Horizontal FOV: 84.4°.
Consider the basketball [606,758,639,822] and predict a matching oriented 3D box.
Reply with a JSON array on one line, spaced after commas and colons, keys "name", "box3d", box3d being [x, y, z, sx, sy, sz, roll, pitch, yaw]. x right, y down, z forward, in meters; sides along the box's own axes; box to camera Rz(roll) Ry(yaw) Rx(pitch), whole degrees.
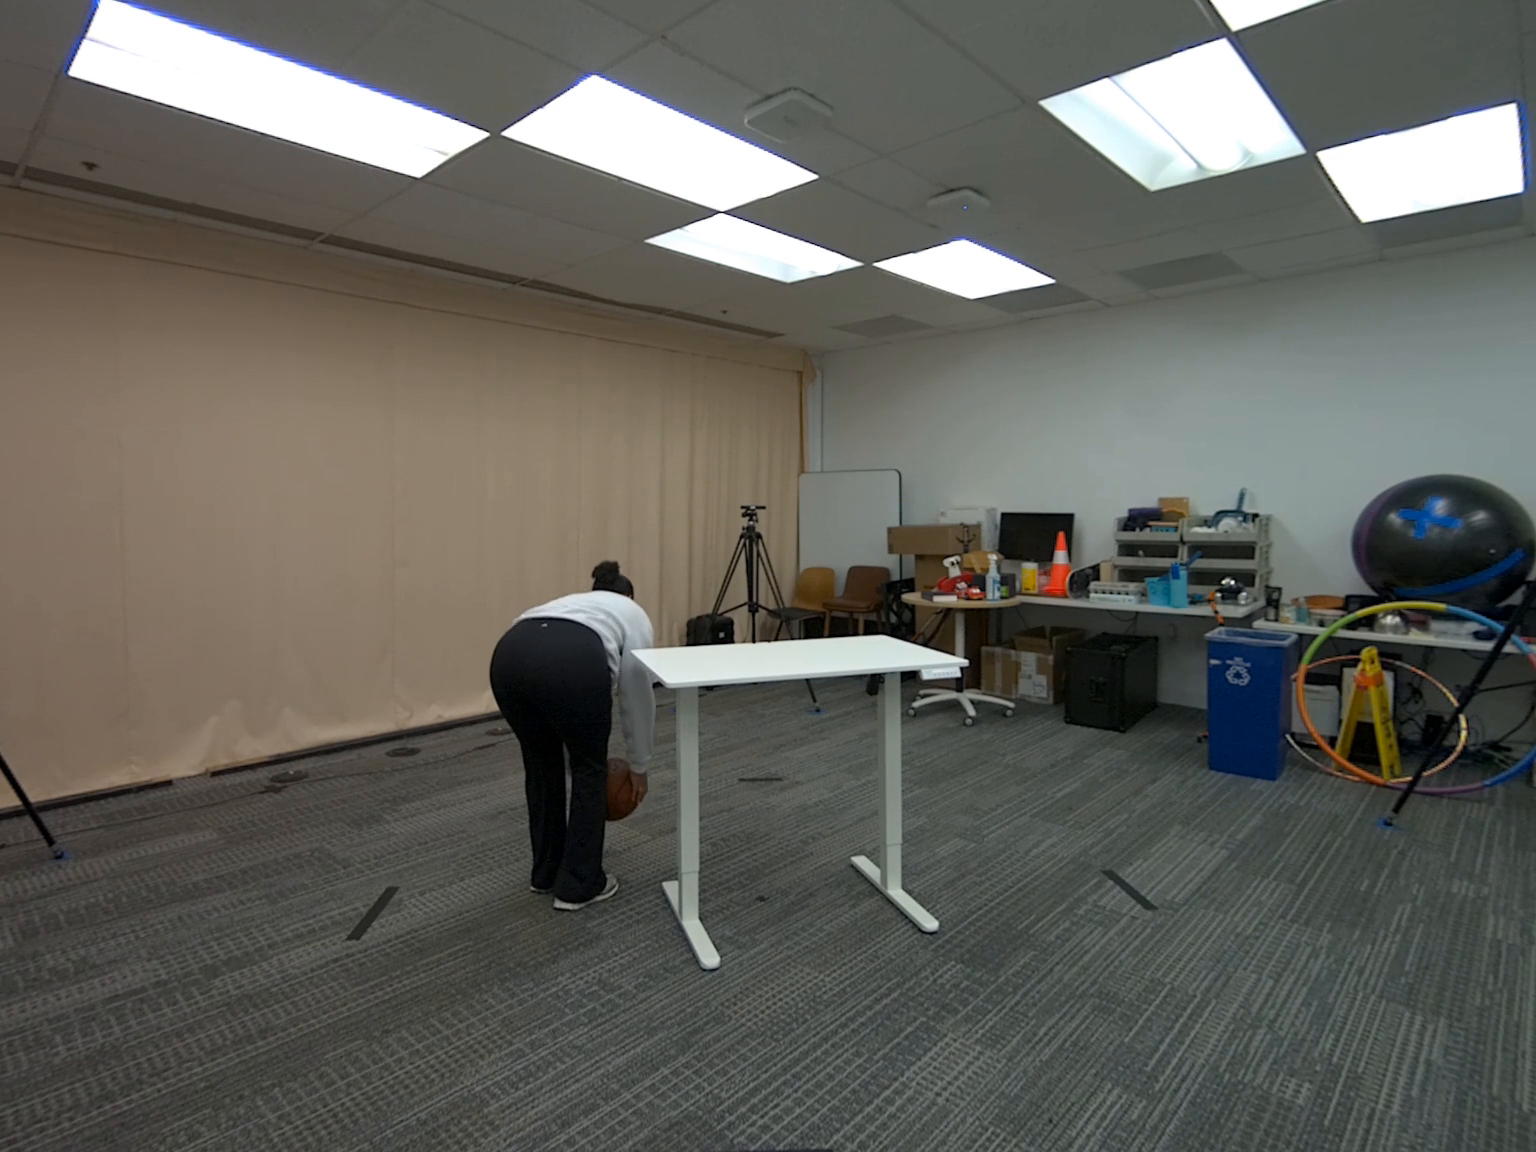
[{"name": "basketball", "box3d": [-0.615, 0.805, 3.265, 0.236, 0.235, 0.237, 0, 4, -2]}]
